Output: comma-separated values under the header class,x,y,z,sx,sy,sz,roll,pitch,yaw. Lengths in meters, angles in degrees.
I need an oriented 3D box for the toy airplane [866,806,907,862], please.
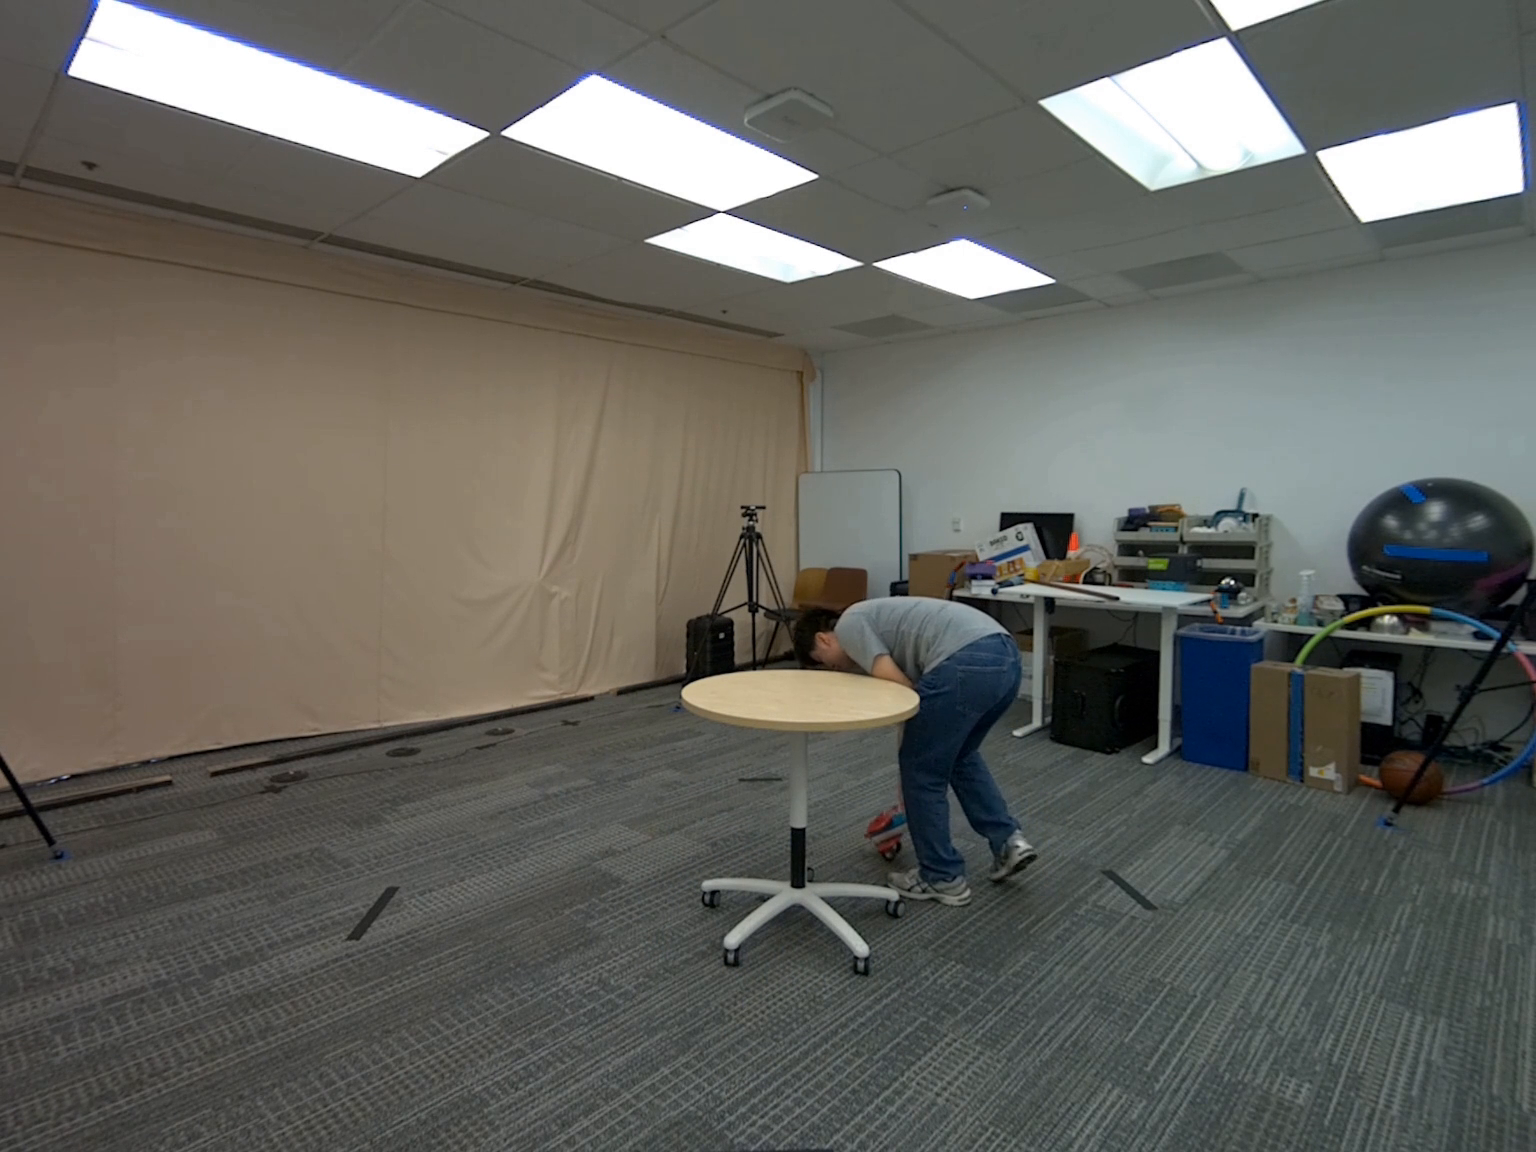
class,x,y,z,sx,sy,sz,roll,pitch,yaw
toy airplane,0.516,0.994,3.334,0.259,0.159,0.247,-40,-13,-5
